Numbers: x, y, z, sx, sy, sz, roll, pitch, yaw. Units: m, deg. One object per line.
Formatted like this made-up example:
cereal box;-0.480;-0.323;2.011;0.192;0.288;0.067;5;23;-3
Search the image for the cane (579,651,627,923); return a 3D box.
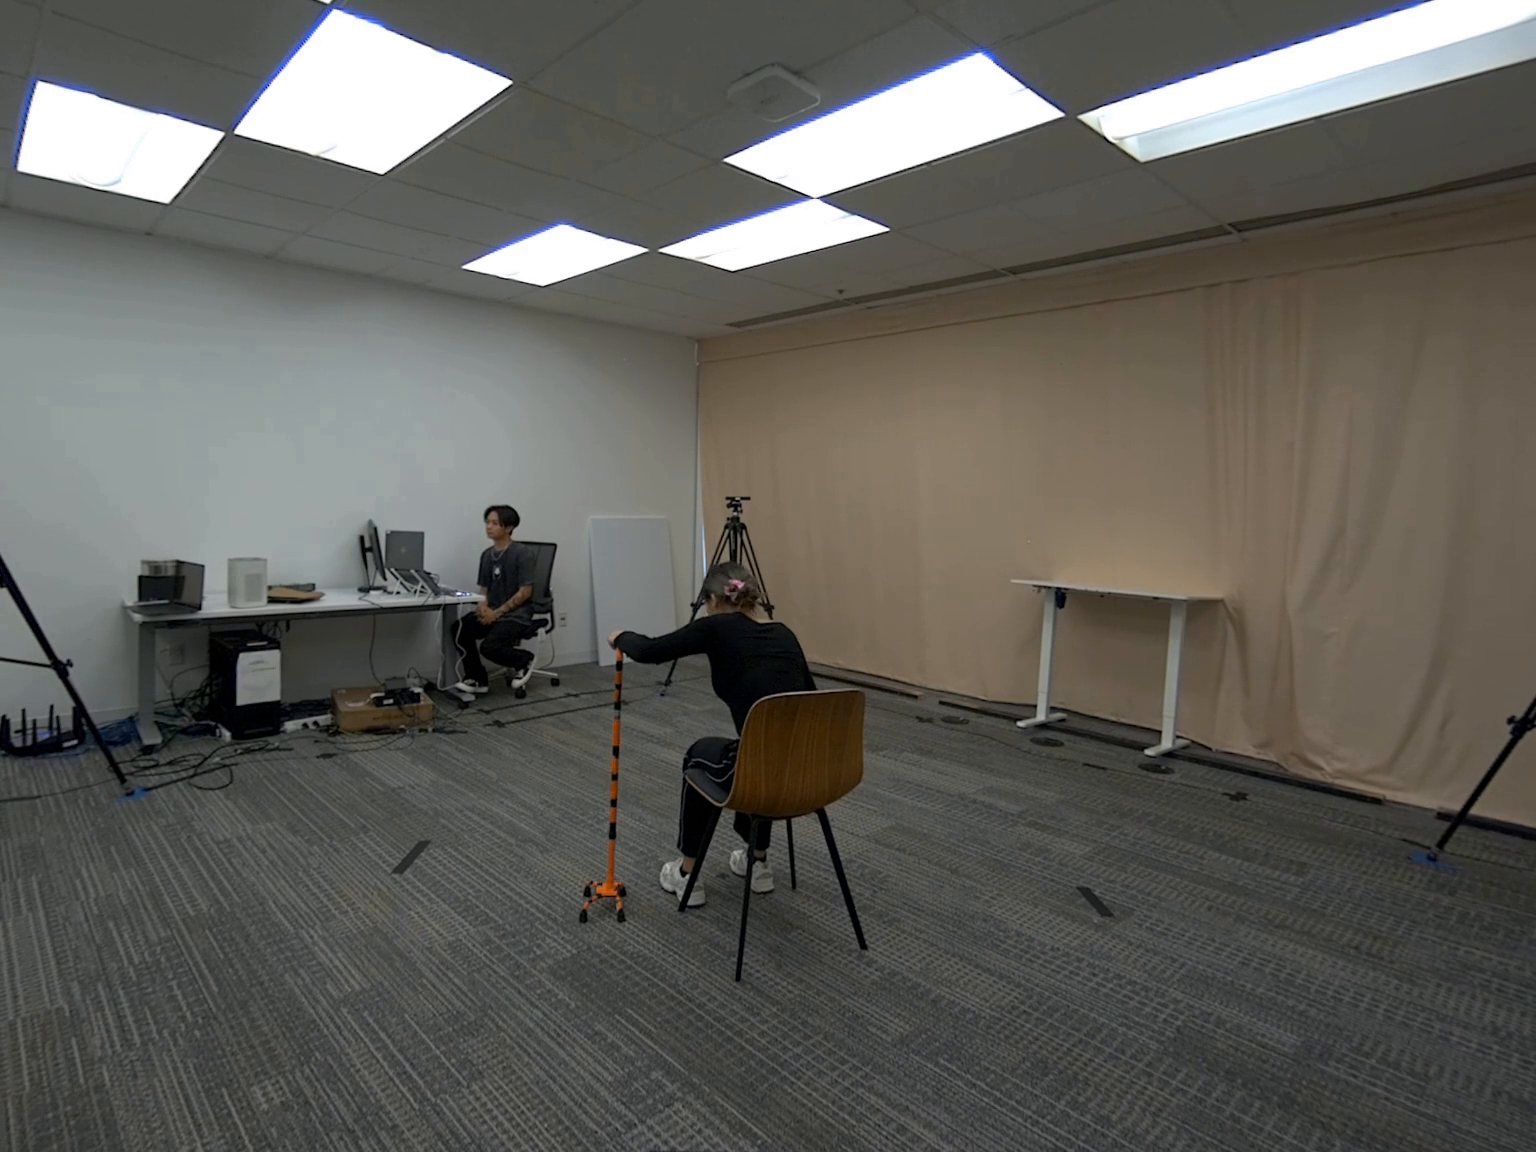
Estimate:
cane;-0.542;0.669;2.828;0.150;0.907;0.208;1;1;-9
